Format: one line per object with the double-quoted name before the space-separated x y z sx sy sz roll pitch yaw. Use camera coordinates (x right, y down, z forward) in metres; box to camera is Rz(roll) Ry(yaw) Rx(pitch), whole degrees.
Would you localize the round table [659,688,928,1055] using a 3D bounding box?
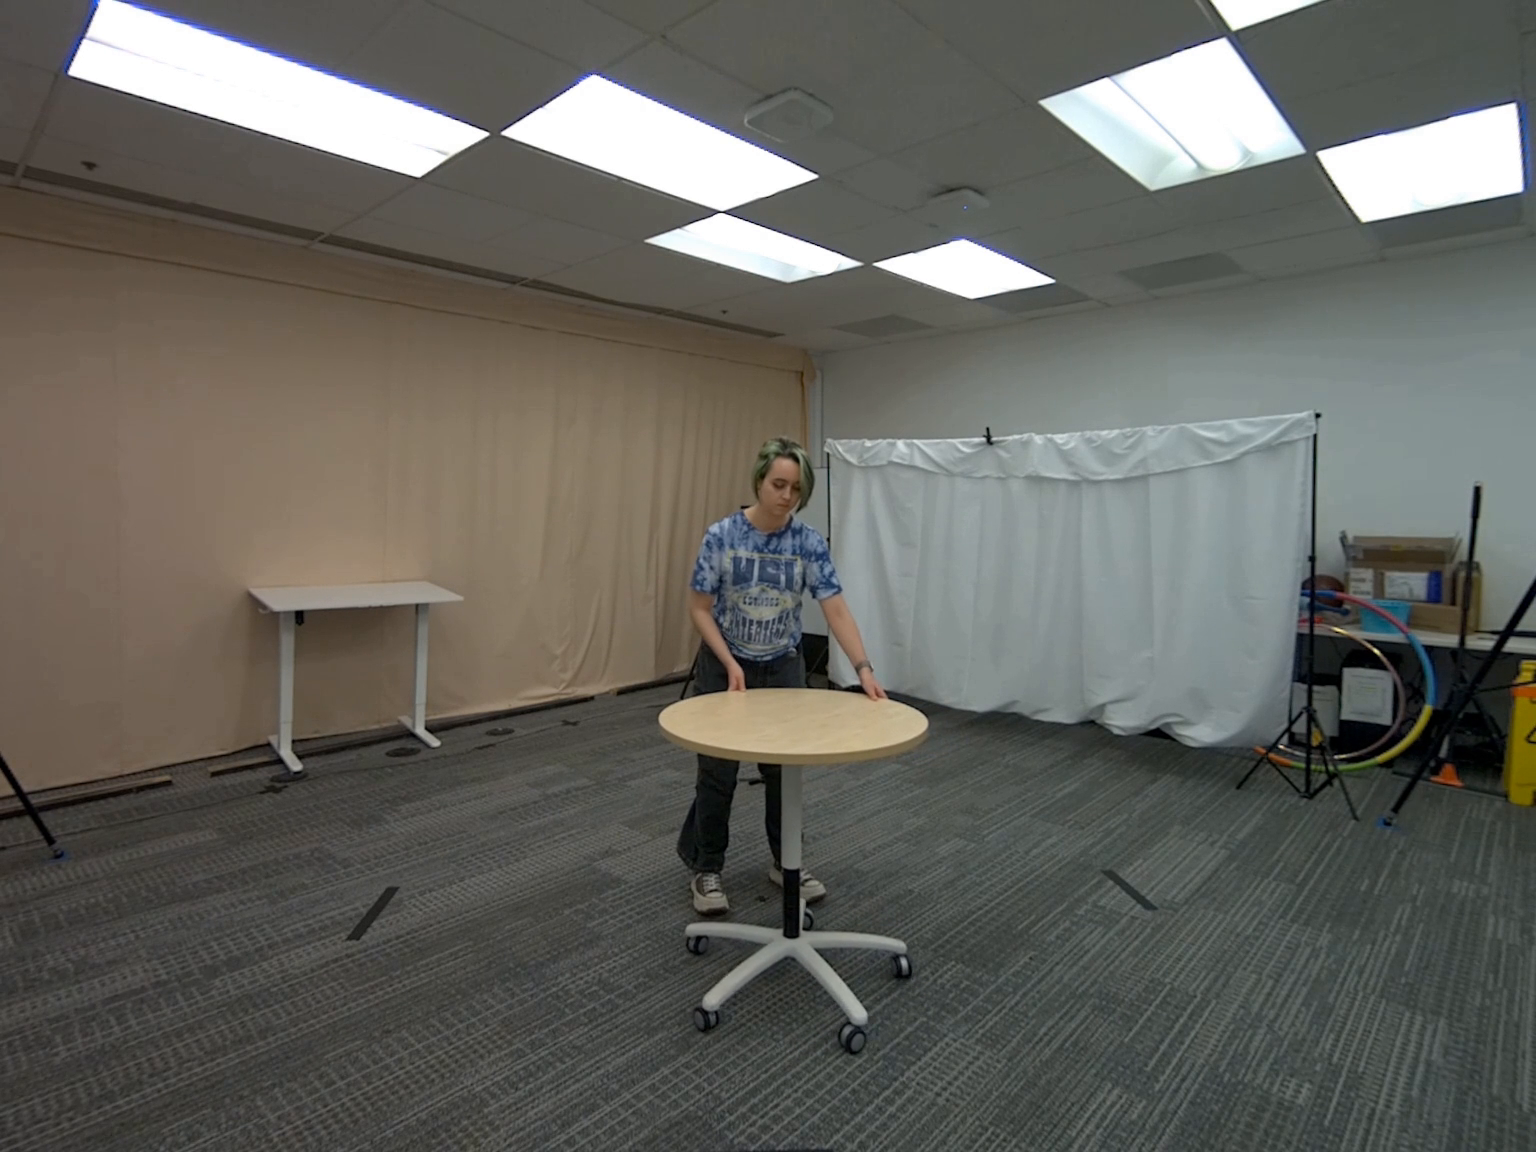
"round table" 0.071 0.801 2.439 0.763 0.792 0.766 0 4 -2
